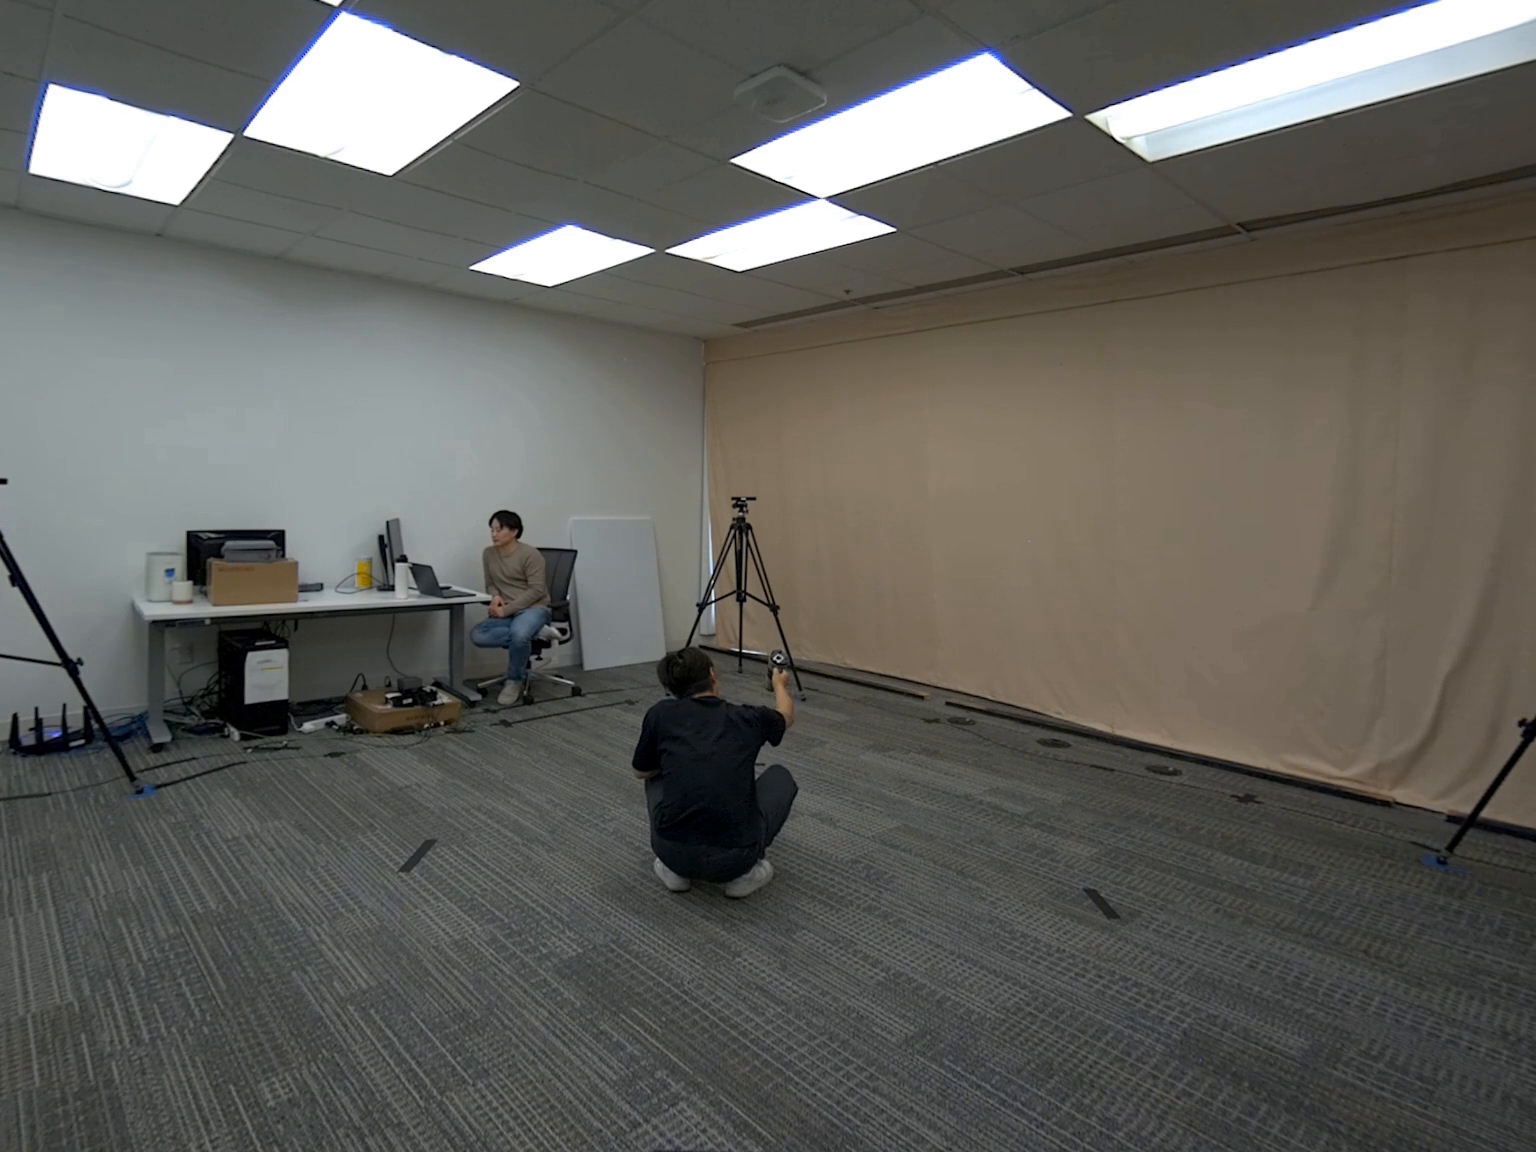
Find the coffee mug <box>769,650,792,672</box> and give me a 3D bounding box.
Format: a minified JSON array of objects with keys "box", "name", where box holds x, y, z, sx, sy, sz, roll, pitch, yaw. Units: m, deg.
[{"box":[0.012,0.440,3.726,0.120,0.199,0.090,-15,49,-27],"name":"coffee mug"}]
